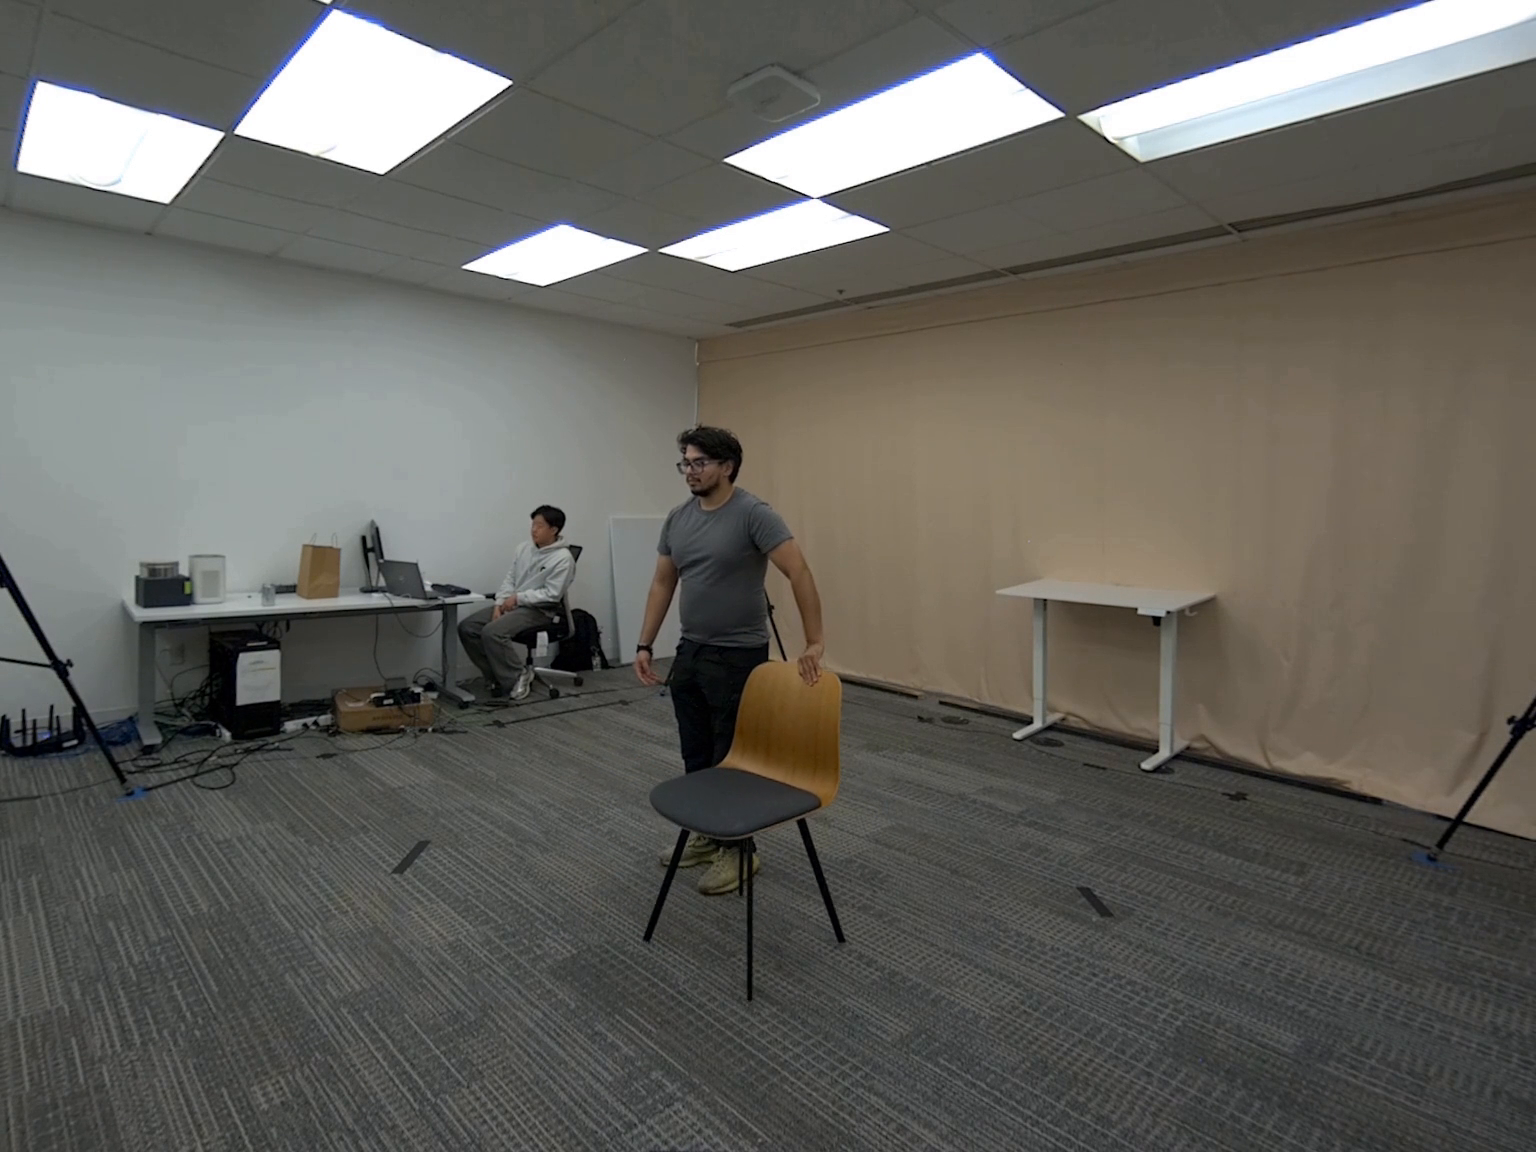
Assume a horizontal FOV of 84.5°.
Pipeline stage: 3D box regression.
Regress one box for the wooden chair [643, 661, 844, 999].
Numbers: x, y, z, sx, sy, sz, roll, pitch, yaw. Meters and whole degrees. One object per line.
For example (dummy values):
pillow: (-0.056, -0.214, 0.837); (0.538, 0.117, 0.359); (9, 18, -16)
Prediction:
wooden chair: (-0.069, 0.727, 2.605); (0.490, 0.877, 0.510); (4, 1, 42)
